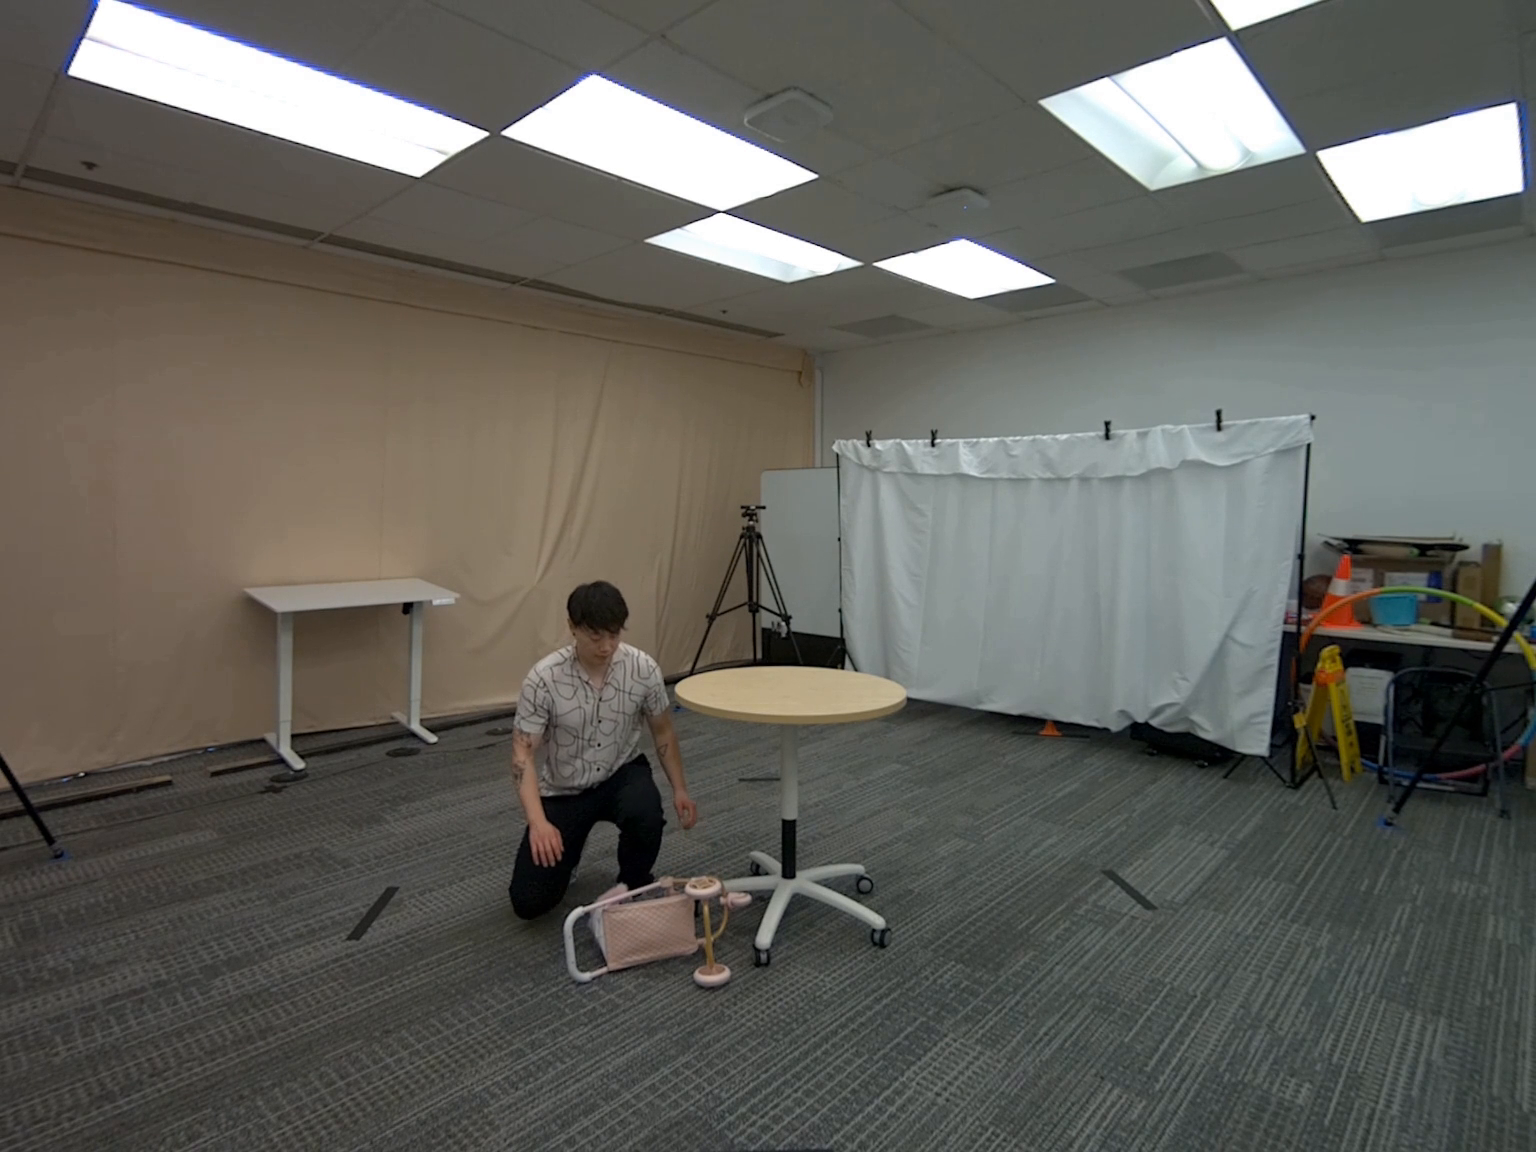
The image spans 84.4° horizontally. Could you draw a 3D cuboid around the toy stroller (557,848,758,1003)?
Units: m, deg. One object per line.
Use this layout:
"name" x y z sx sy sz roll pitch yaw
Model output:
"toy stroller" -0.323 1.055 2.591 0.538 0.281 0.340 -6 1 5
